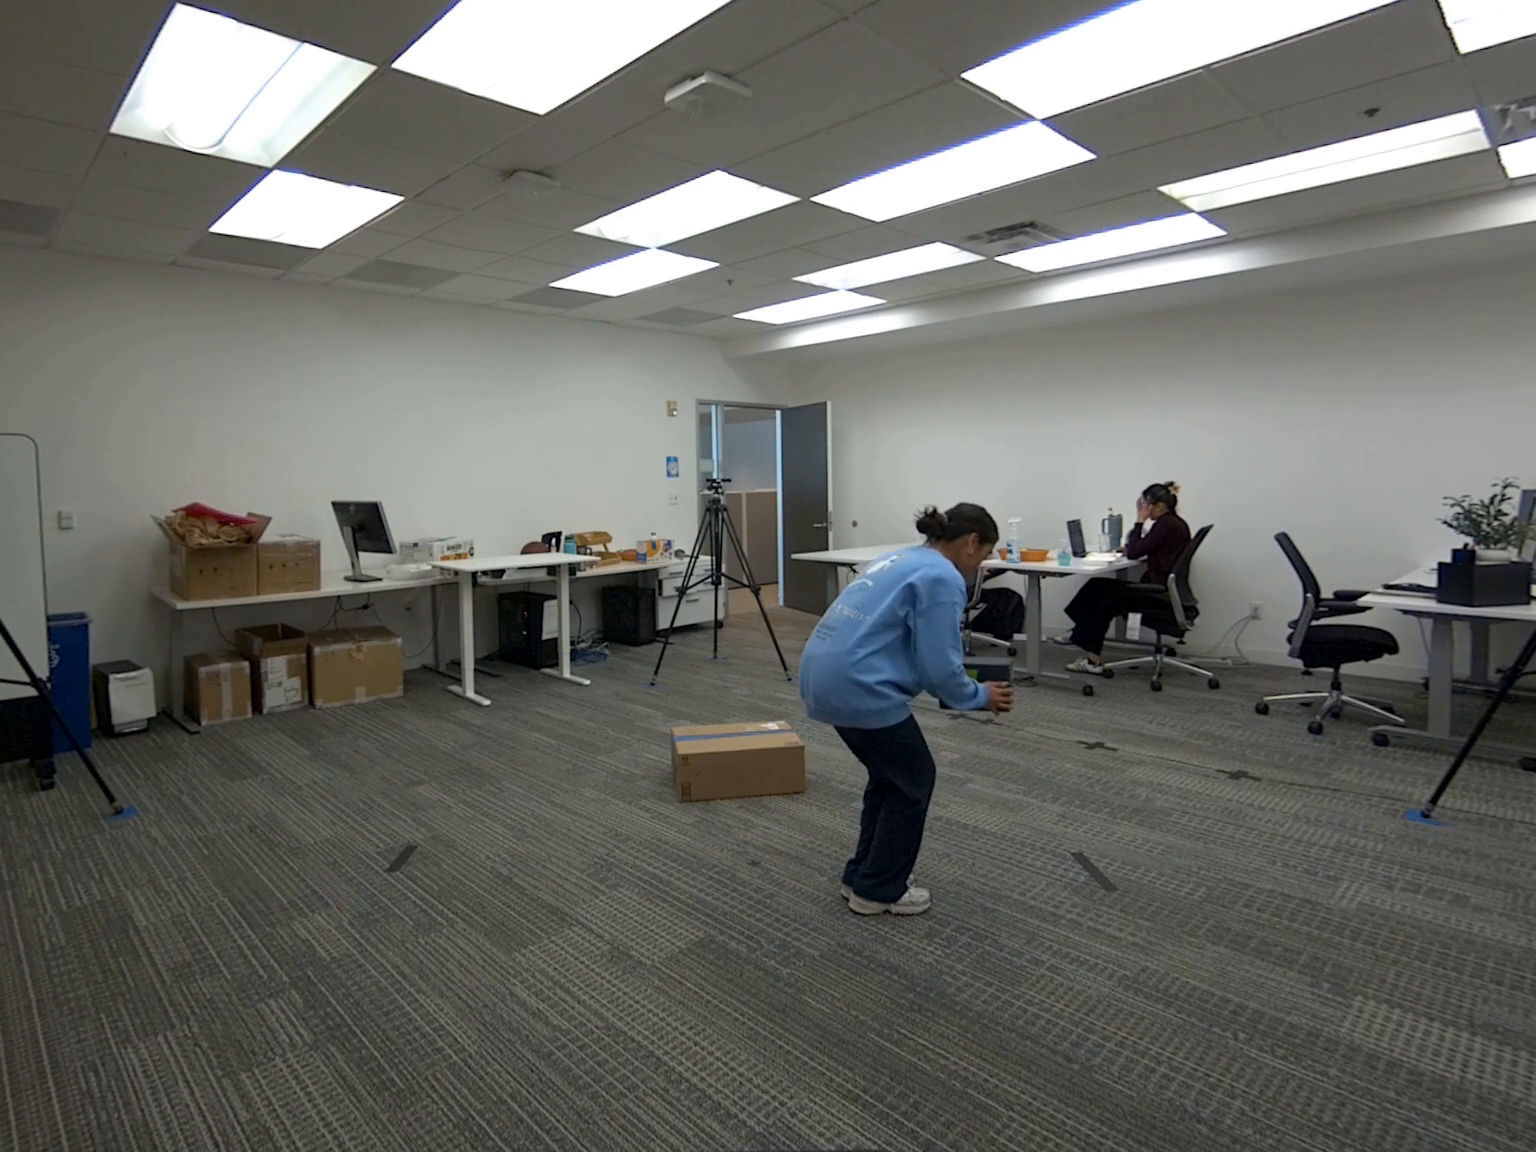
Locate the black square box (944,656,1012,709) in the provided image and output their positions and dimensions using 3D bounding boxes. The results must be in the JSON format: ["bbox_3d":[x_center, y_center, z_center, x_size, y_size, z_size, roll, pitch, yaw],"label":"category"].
[{"bbox_3d":[0.708,0.369,2.925,0.232,0.156,0.212,-1,-1,22],"label":"black square box"}]
